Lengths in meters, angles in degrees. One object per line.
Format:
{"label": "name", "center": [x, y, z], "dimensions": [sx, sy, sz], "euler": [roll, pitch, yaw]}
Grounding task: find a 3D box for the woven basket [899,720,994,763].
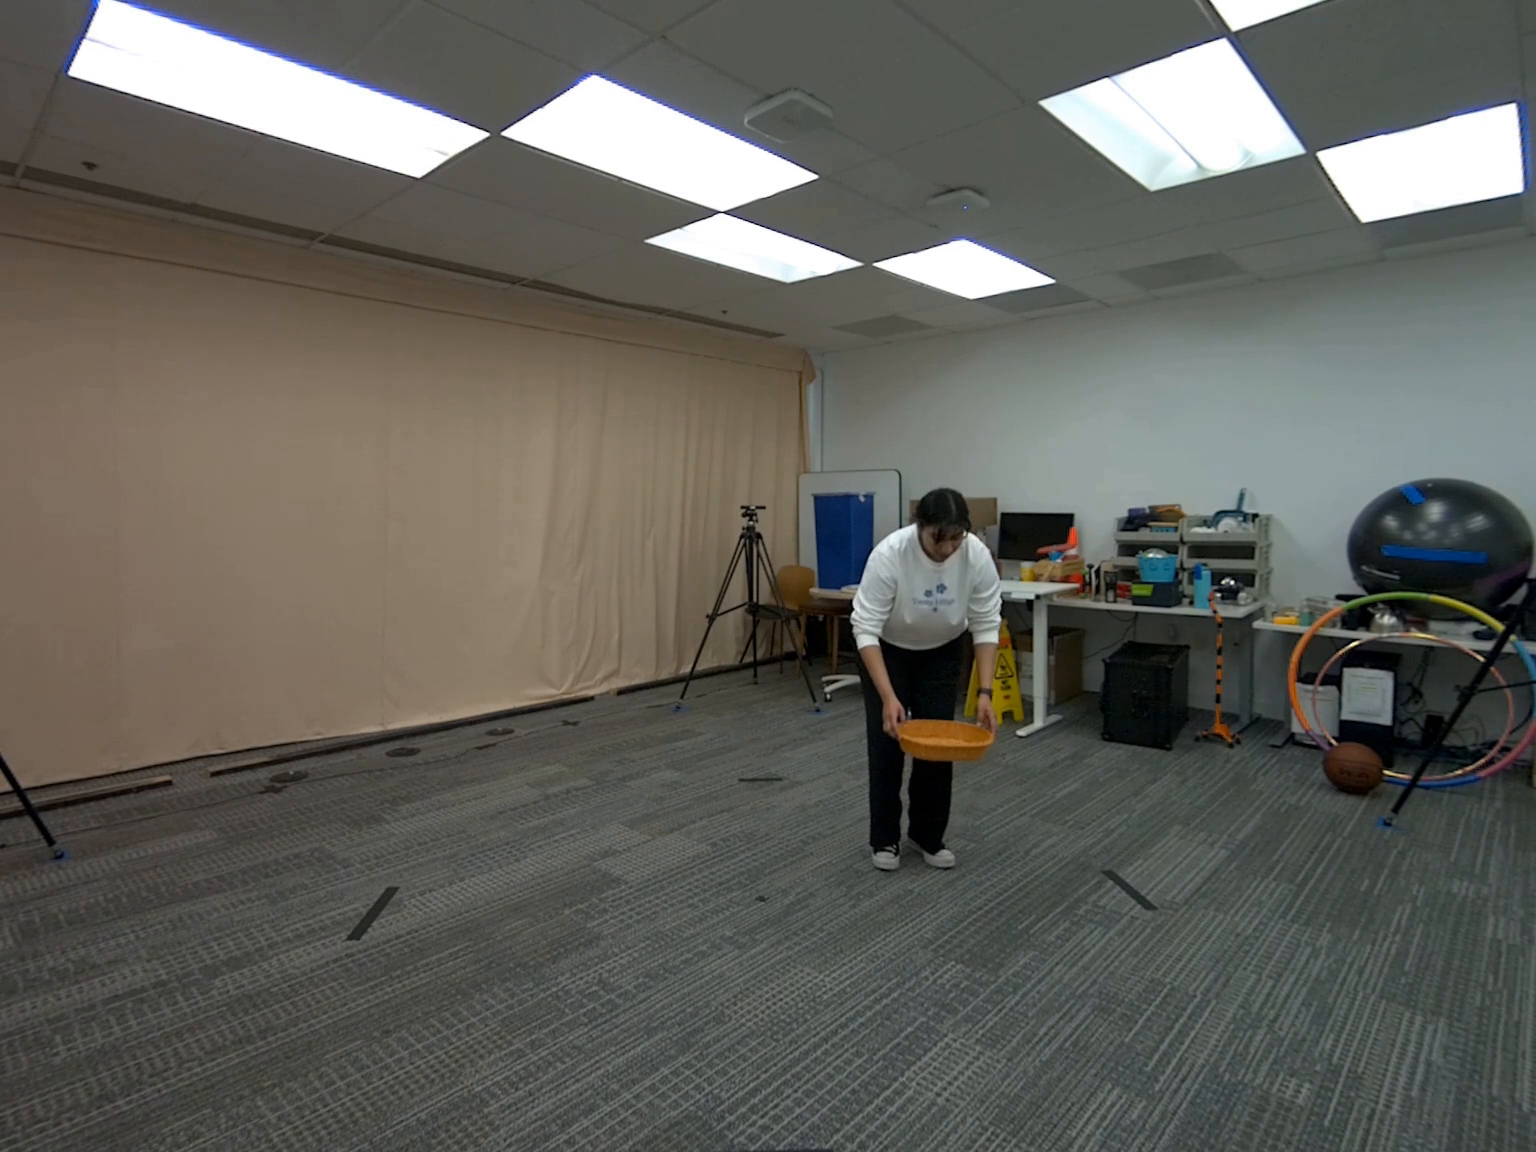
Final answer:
{"label": "woven basket", "center": [0.628, 0.590, 2.984], "dimensions": [0.350, 0.073, 0.254], "euler": [2, 9, -2]}
